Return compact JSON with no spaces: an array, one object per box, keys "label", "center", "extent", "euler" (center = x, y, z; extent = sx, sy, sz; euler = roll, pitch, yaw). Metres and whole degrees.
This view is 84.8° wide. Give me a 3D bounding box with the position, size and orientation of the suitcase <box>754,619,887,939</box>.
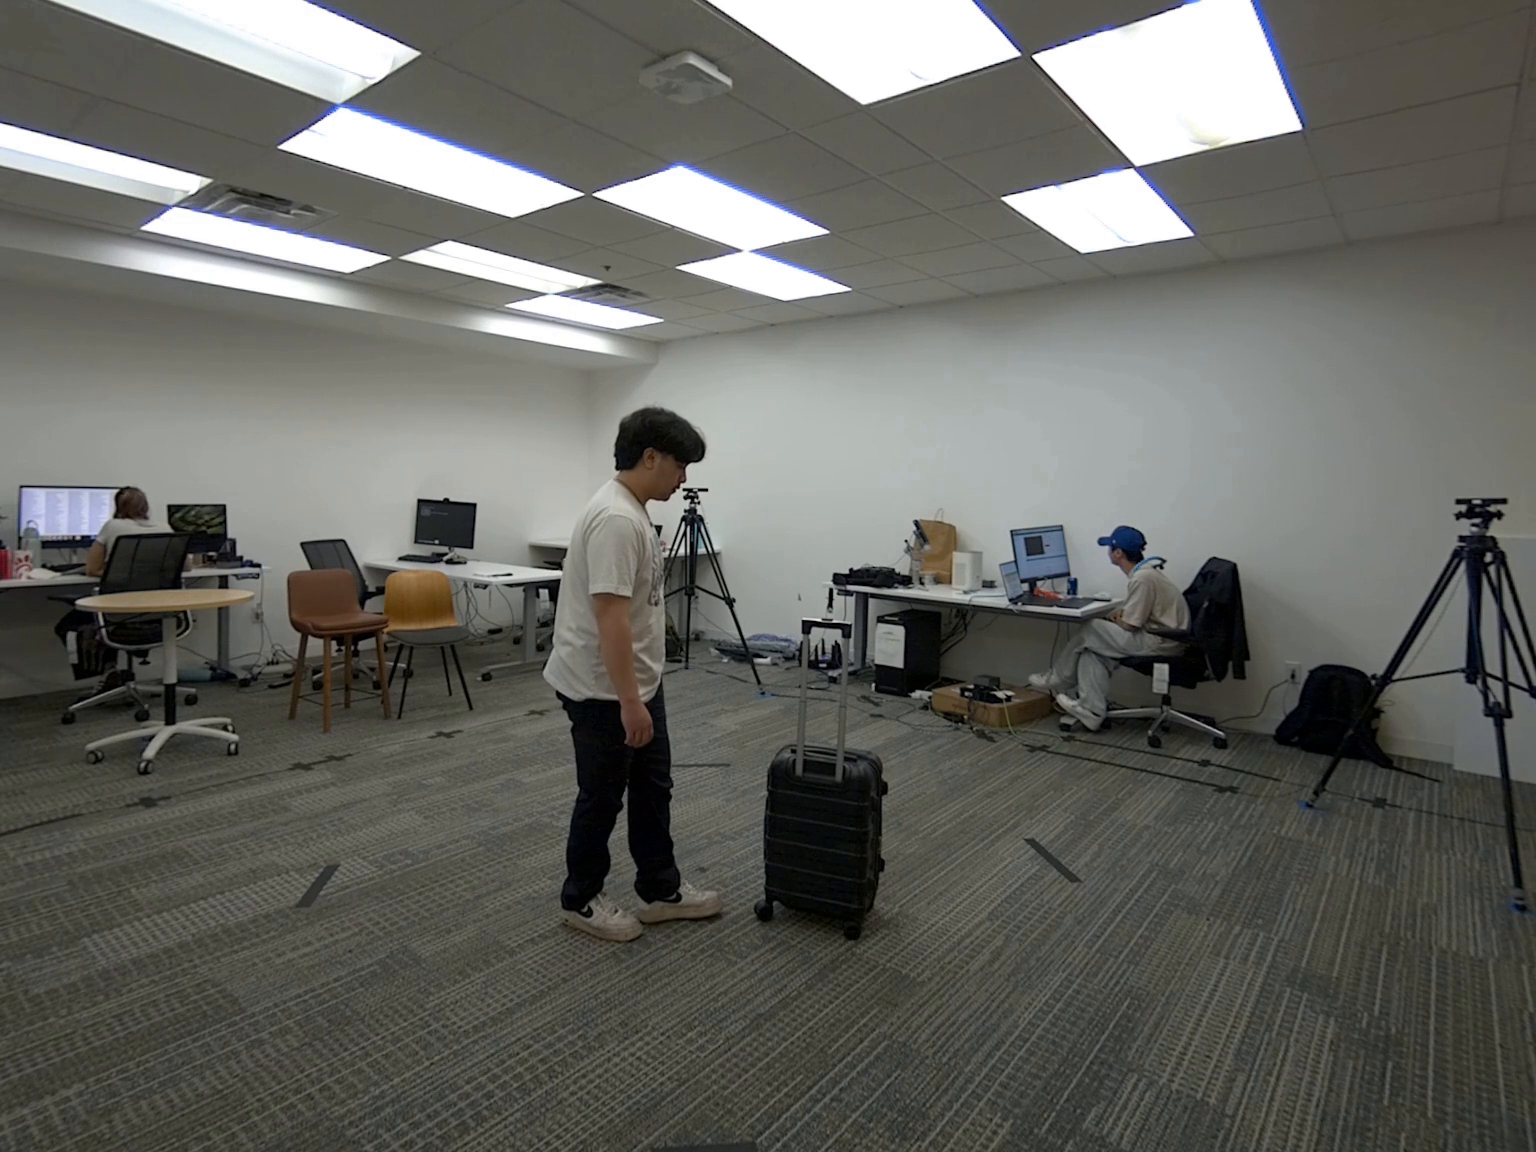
[{"label":"suitcase","center":[0.190,0.636,2.799],"extent":[0.393,0.978,0.251],"euler":[4,0,20]}]
